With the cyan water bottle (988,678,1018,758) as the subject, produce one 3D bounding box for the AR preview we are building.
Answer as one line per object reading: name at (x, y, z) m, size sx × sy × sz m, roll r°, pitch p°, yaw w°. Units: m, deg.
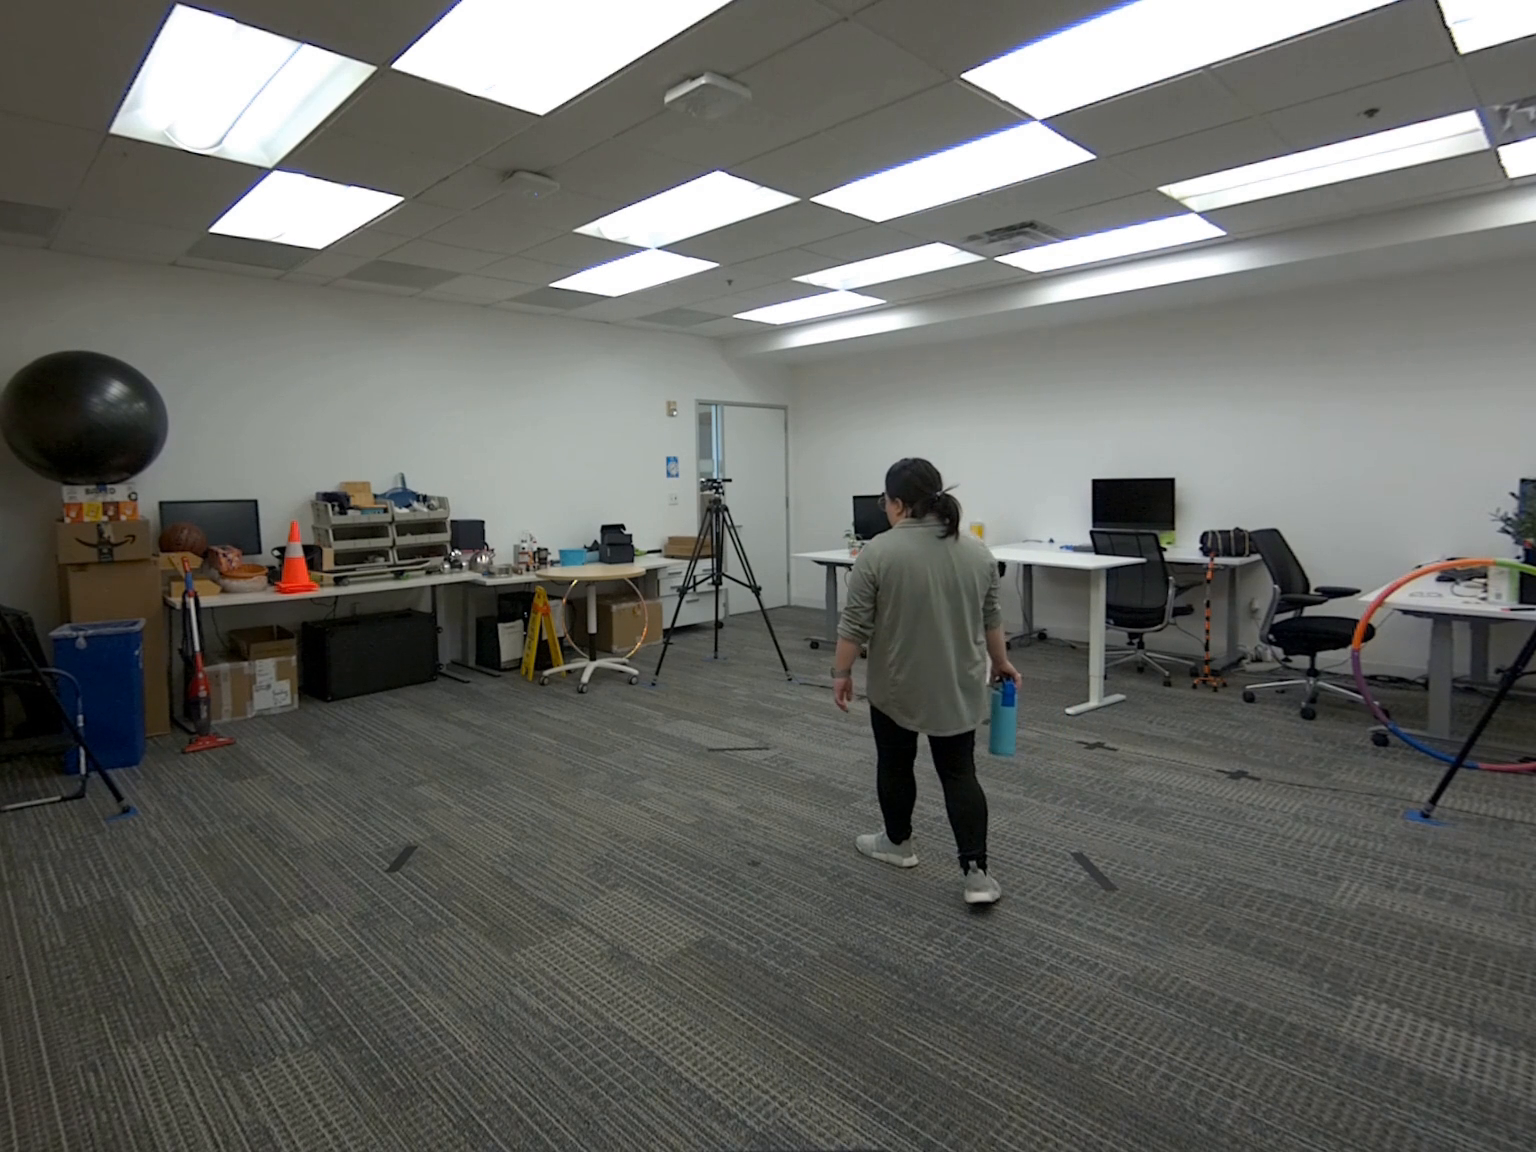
cyan water bottle at (0.840, 0.497, 3.075) m, size 0.092 × 0.284 × 0.092 m, roll 4°, pitch -4°, yaw -1°
